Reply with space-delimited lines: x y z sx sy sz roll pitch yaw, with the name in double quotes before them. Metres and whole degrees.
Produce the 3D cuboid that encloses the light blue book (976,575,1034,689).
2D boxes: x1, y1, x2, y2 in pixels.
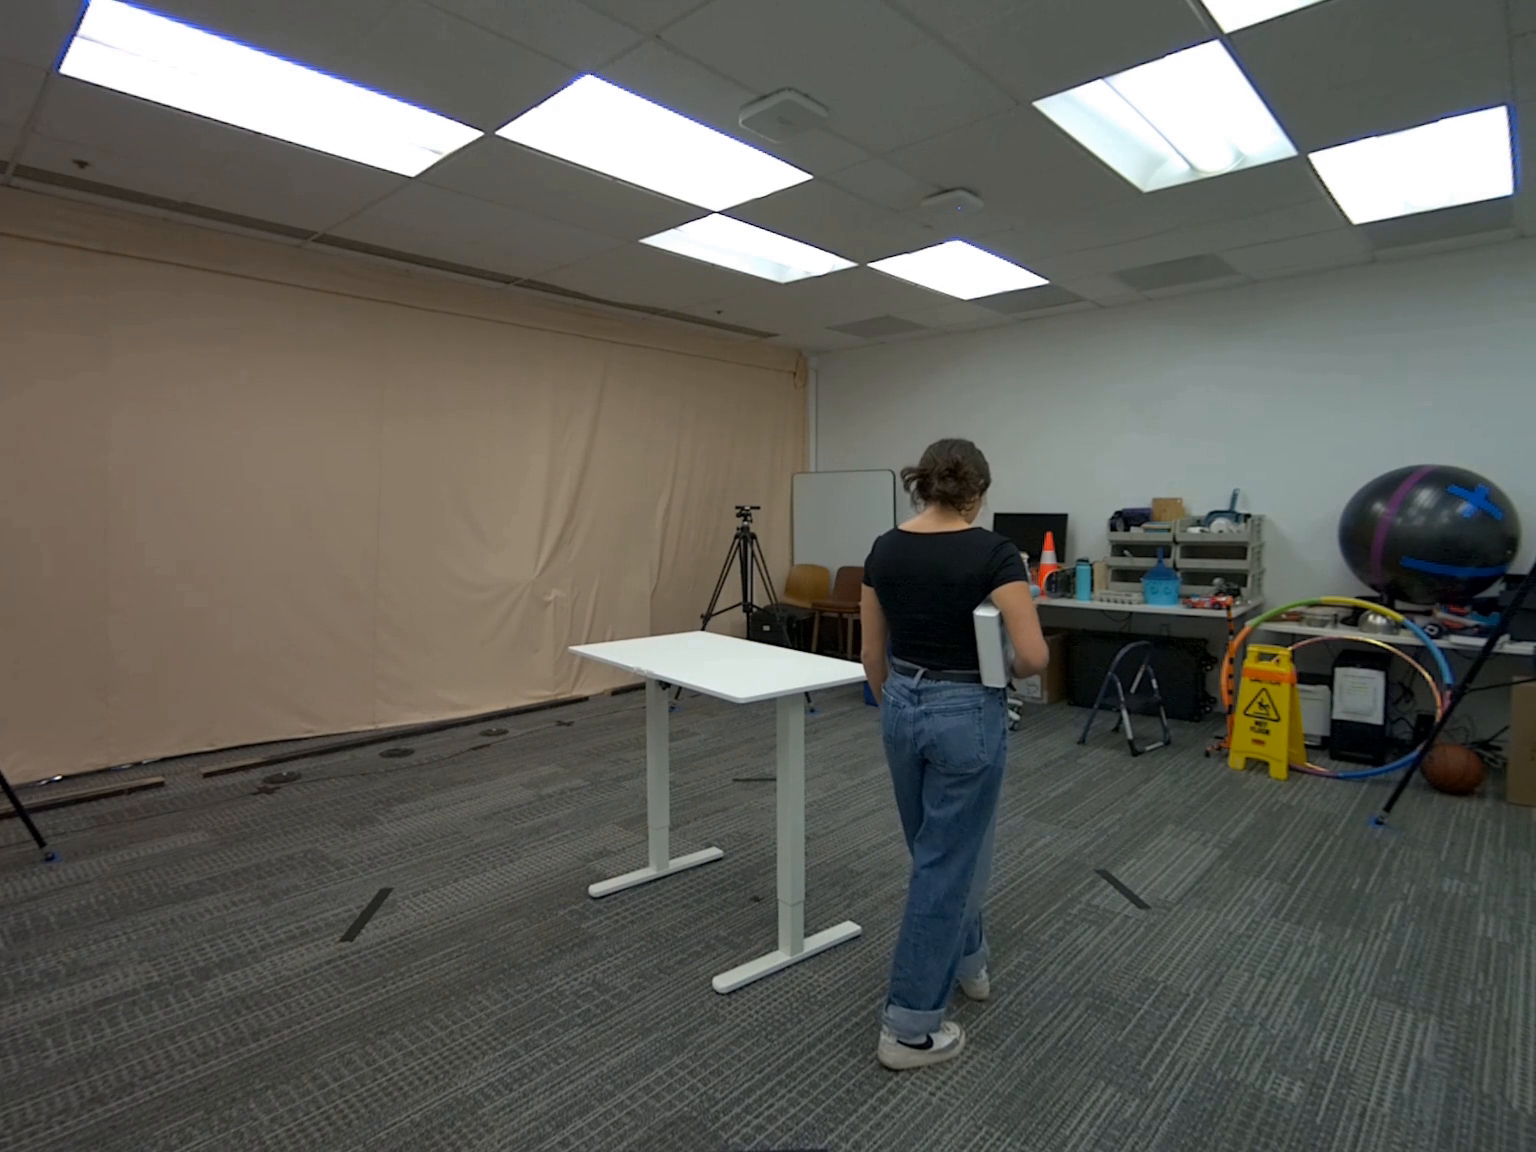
"light blue book" 0.591 0.130 2.079 0.061 0.189 0.256 -2 17 33
